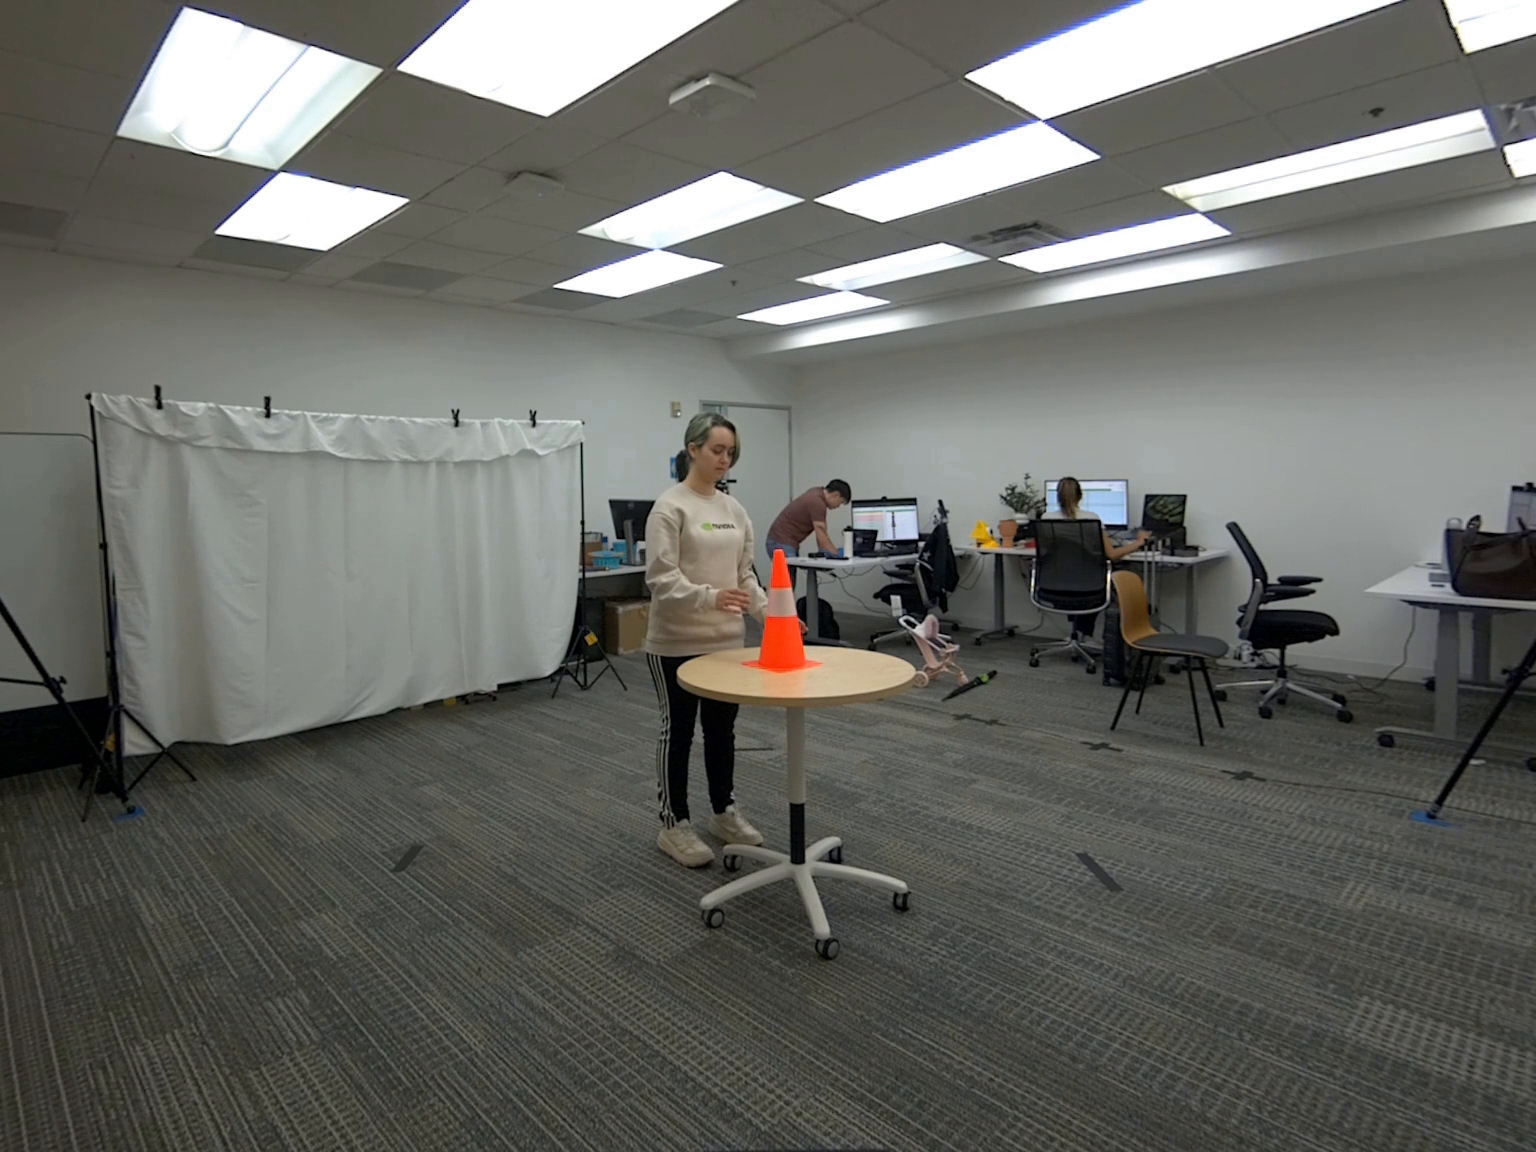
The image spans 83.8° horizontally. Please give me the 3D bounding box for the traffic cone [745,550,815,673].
[{"bbox_3d":[0.039,0.108,2.825,0.209,0.382,0.200,3,7,40],"label":"traffic cone"}]
